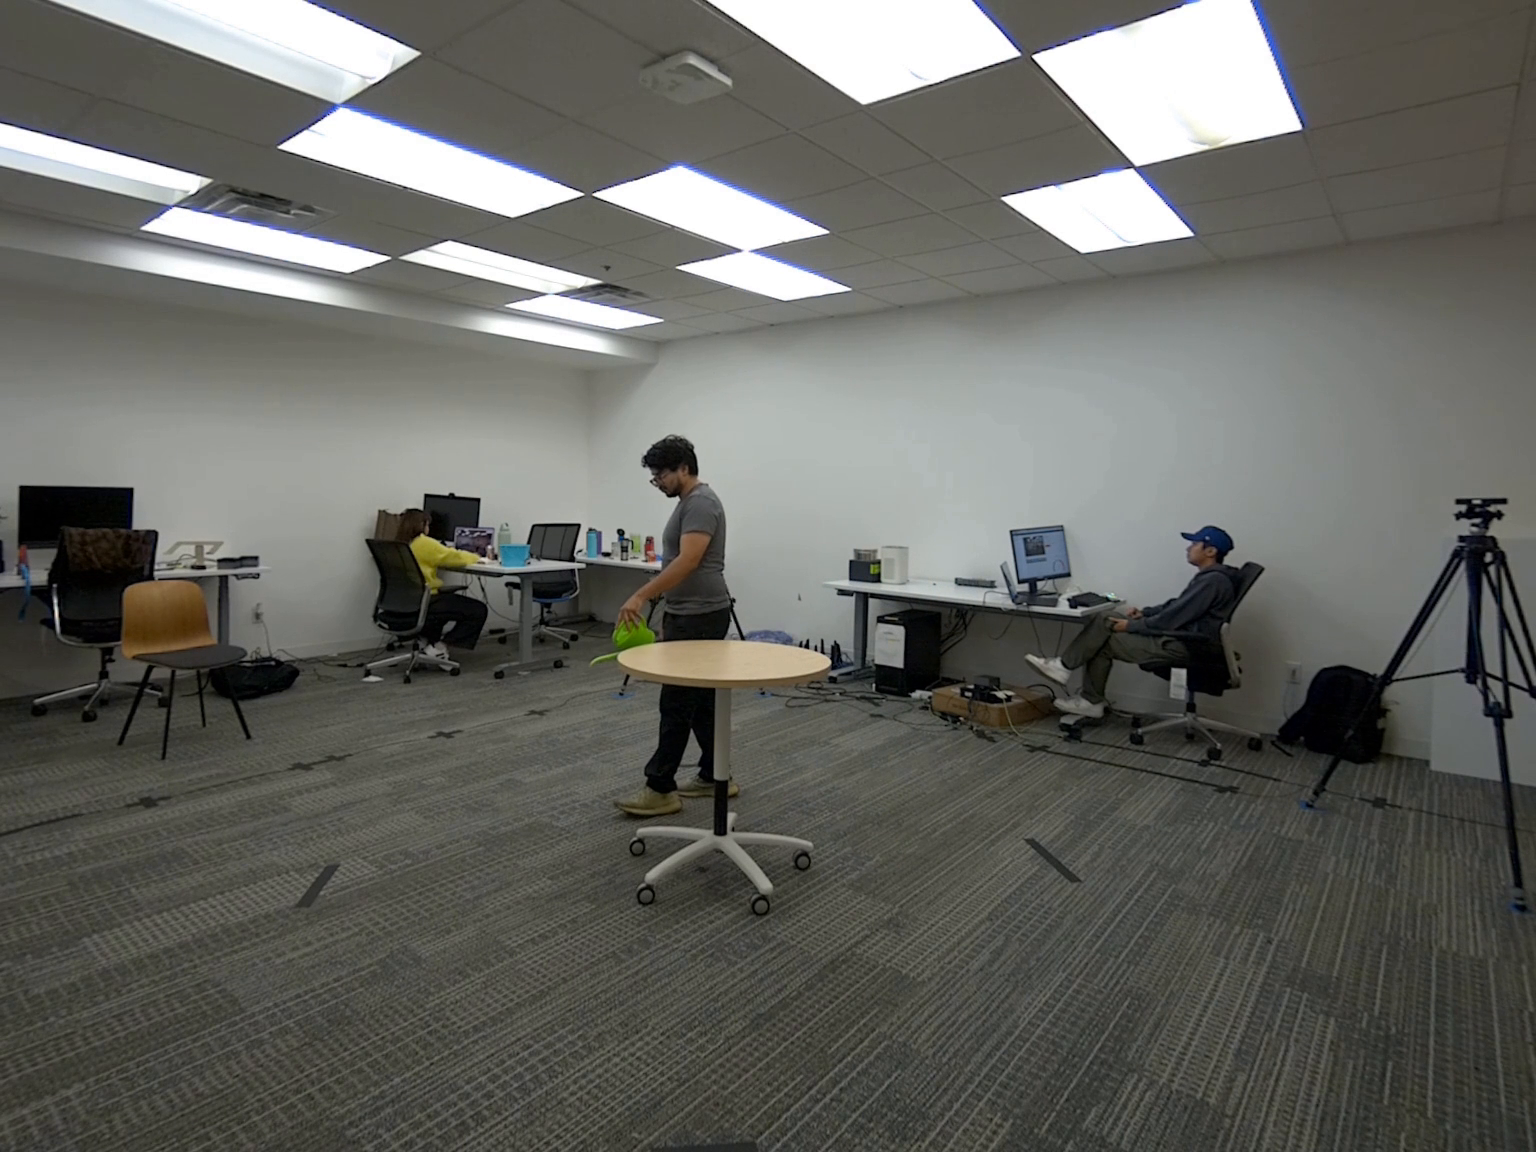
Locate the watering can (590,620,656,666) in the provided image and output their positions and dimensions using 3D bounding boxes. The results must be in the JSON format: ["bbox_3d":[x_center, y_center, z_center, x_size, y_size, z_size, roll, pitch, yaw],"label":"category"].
[{"bbox_3d":[-0.606,0.275,3.477,0.169,0.278,0.102,41,7,-40],"label":"watering can"}]
